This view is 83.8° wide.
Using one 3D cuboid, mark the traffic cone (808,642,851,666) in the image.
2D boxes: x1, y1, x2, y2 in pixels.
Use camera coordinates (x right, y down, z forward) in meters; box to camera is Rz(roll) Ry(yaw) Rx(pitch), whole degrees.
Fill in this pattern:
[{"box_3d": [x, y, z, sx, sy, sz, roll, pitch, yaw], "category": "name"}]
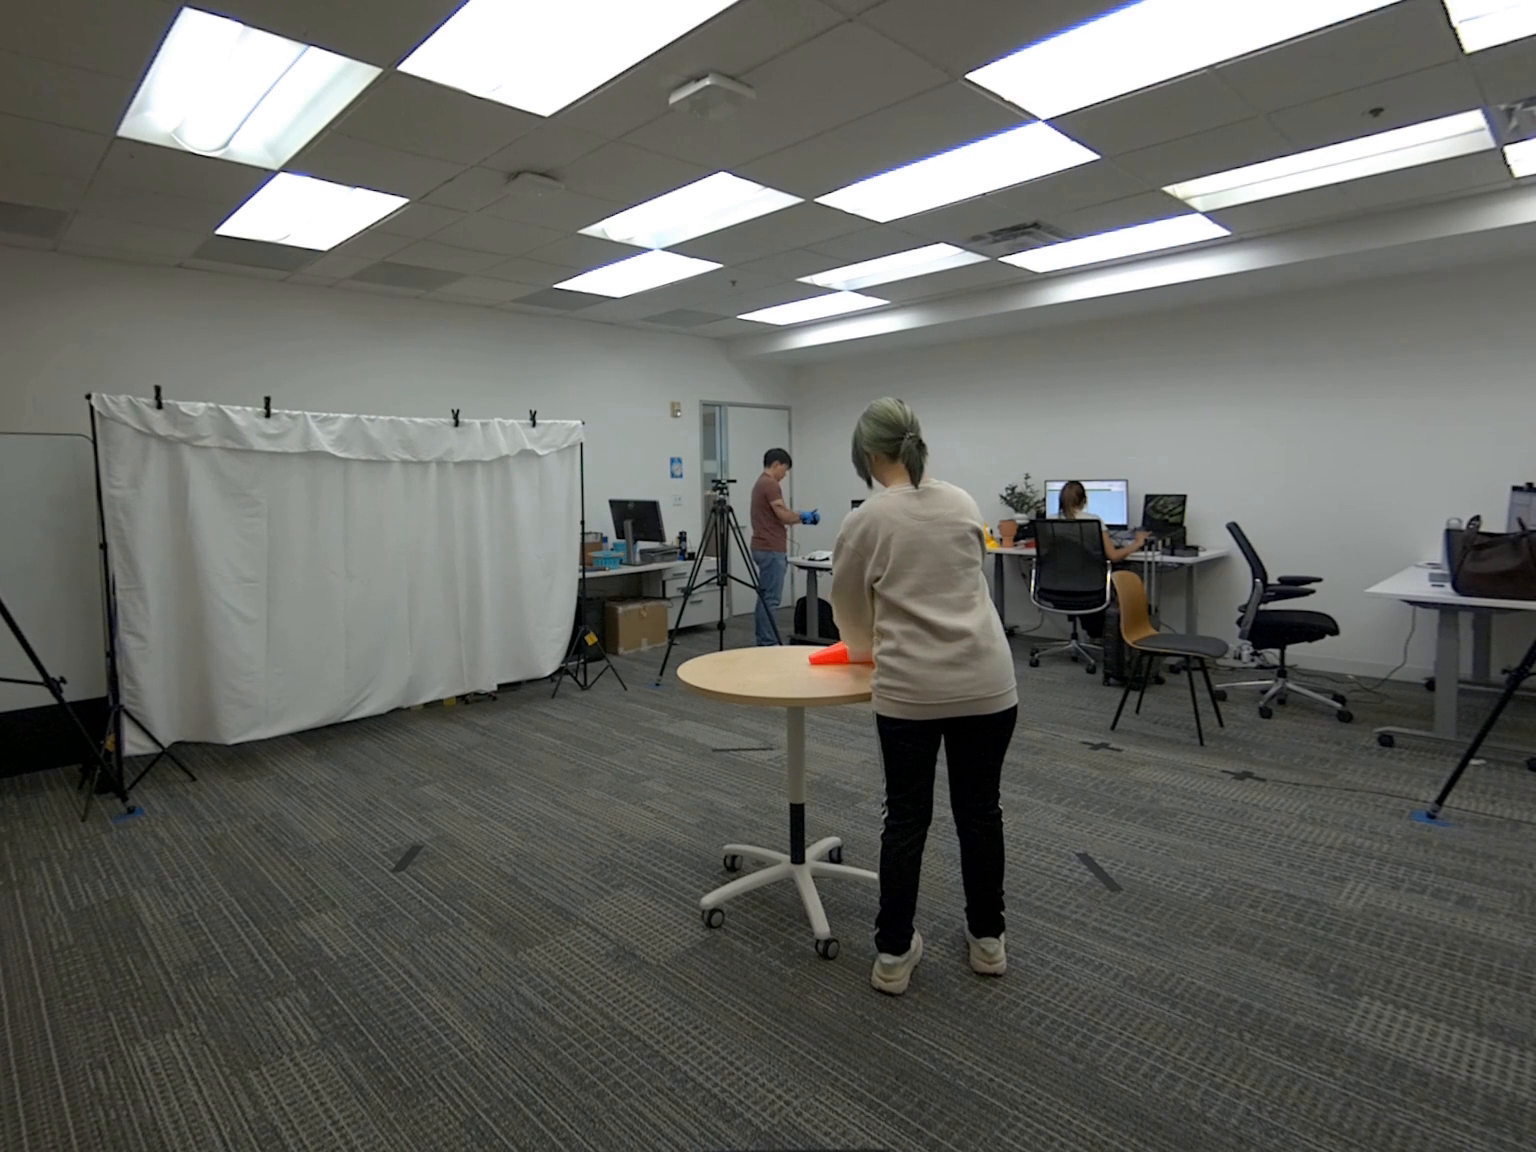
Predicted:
[{"box_3d": [0.338, 0.243, 2.842, 0.382, 0.209, 0.199, -13, -30, -4], "category": "traffic cone"}]
